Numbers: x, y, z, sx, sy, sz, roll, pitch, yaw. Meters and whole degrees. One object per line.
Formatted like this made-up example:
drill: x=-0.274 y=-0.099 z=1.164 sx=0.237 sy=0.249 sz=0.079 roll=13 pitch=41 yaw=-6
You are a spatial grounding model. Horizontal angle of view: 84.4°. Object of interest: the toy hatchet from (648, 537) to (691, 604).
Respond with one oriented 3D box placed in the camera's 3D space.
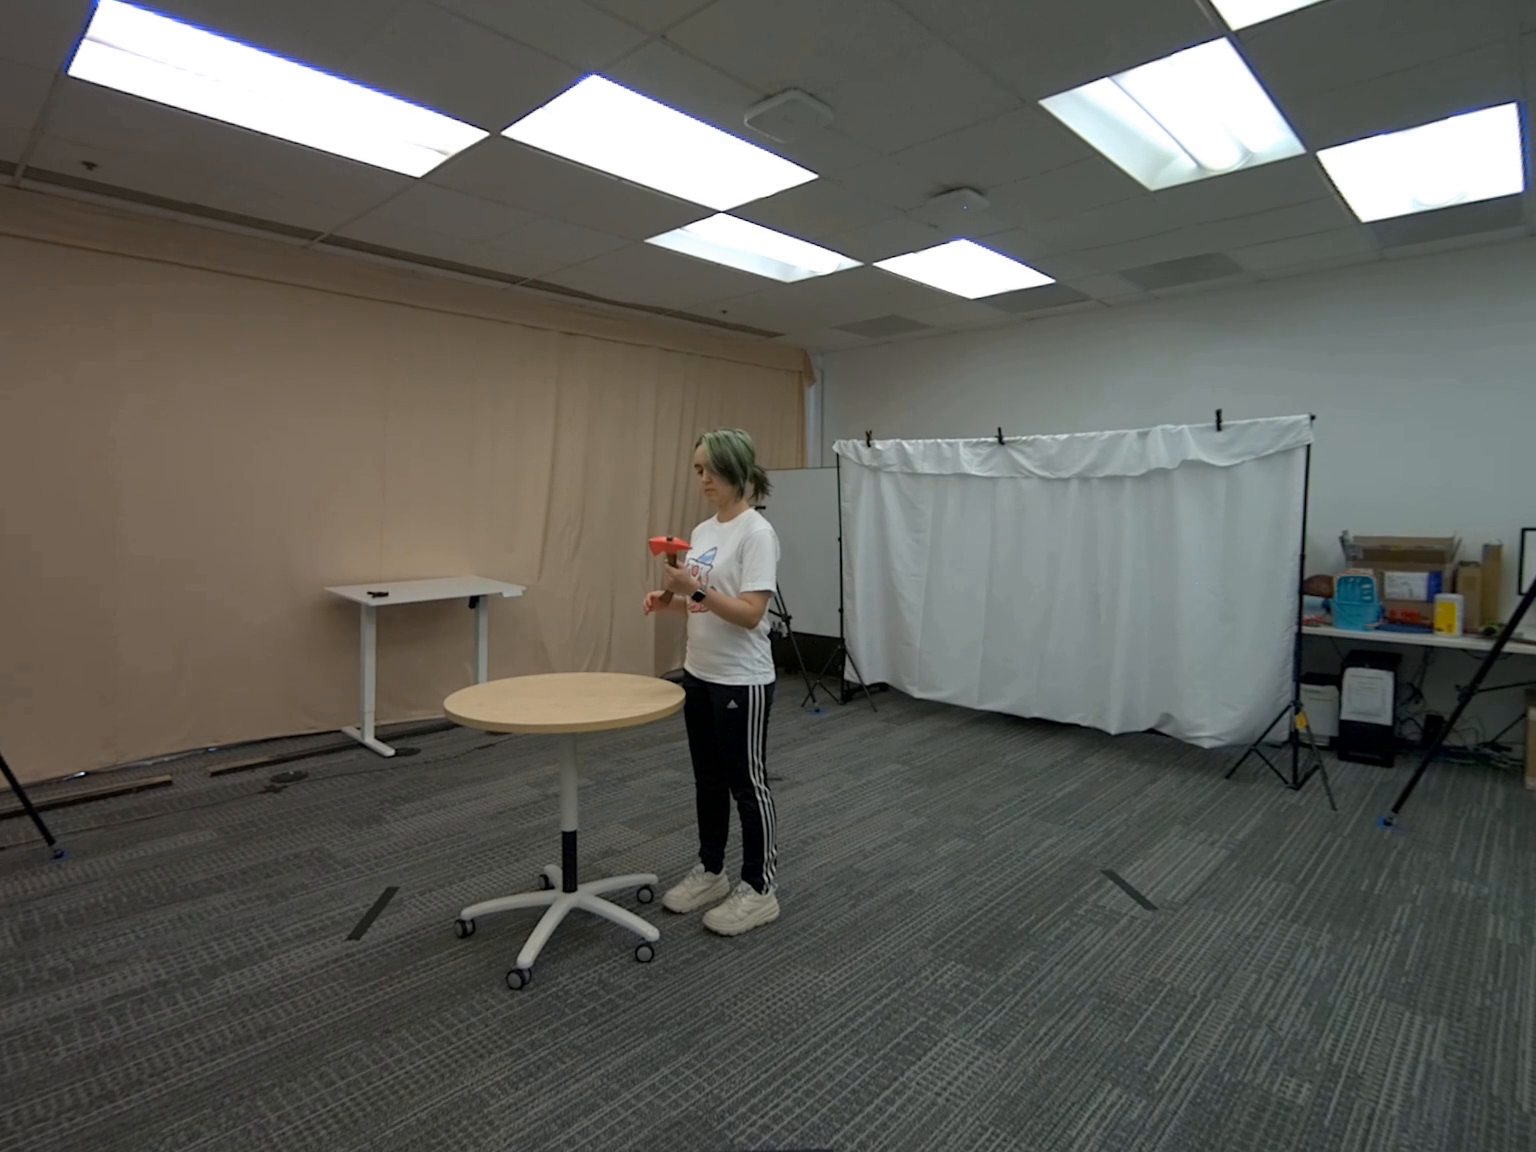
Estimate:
toy hatchet: x=-0.319 y=-0.024 z=2.575 sx=0.131 sy=0.268 sz=0.030 roll=22 pitch=43 yaw=0
